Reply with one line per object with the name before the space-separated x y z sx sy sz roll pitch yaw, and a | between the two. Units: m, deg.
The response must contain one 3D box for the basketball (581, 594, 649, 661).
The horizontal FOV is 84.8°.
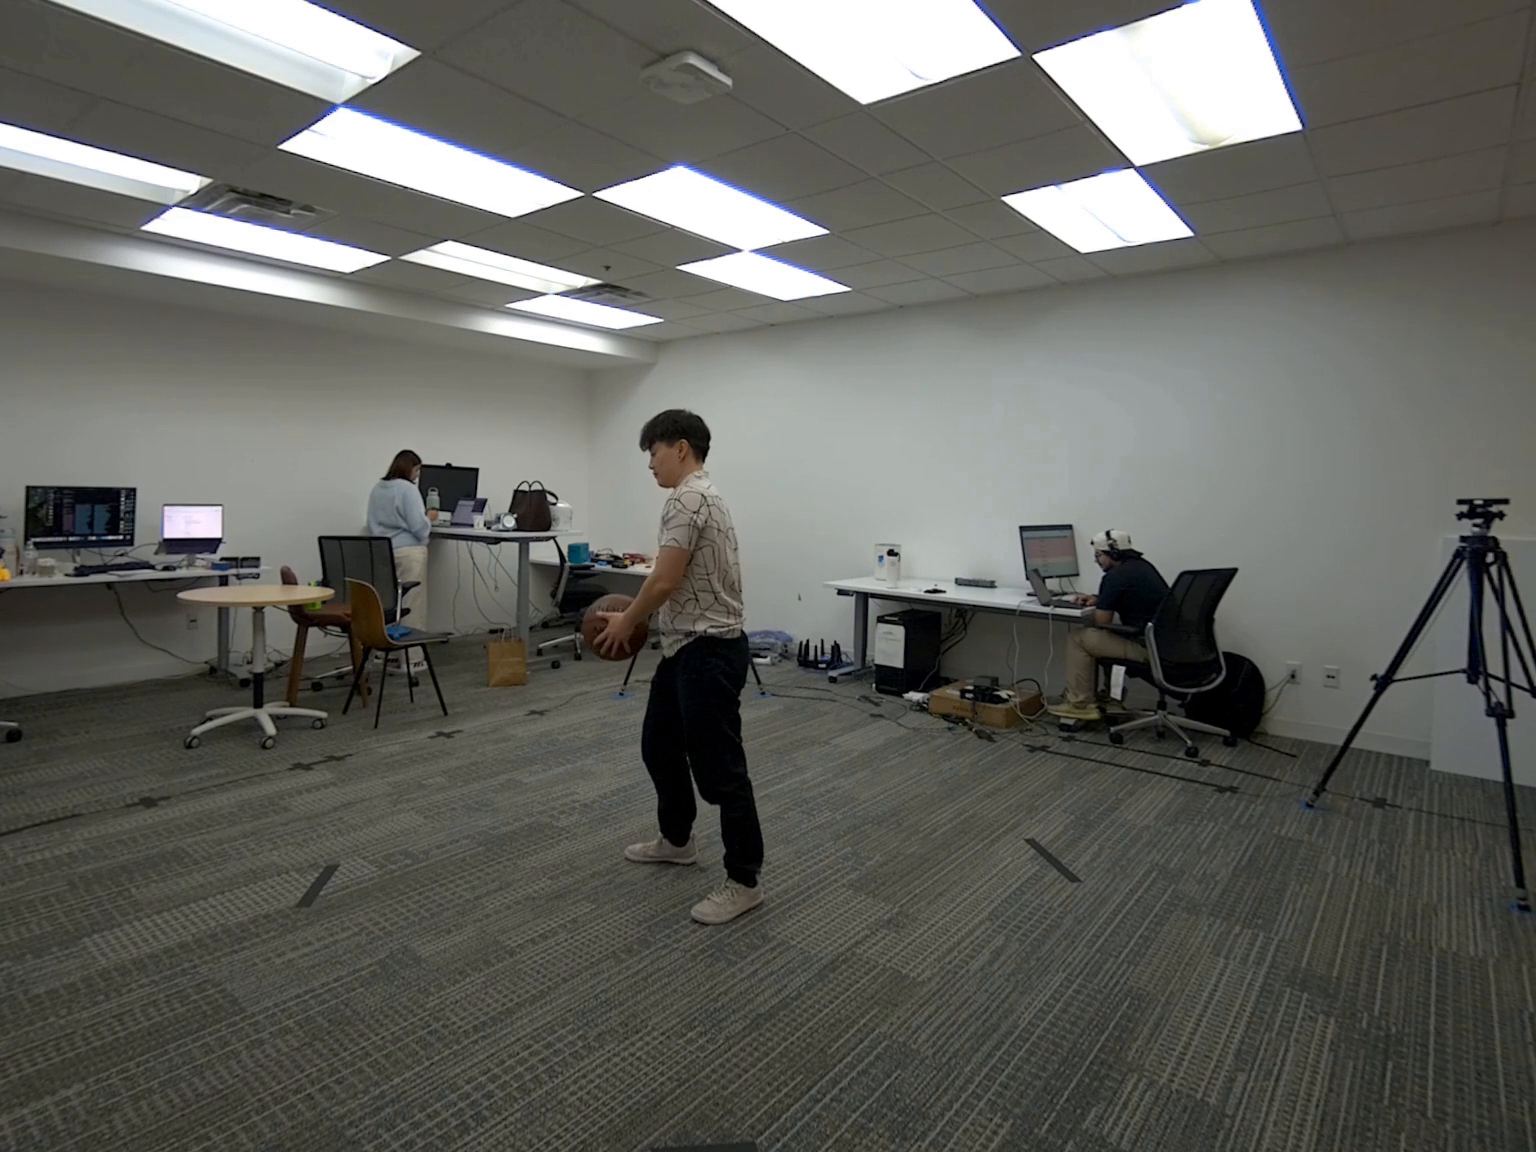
basketball | -0.551 0.161 3.030 0.235 0.235 0.237 1 4 -2
